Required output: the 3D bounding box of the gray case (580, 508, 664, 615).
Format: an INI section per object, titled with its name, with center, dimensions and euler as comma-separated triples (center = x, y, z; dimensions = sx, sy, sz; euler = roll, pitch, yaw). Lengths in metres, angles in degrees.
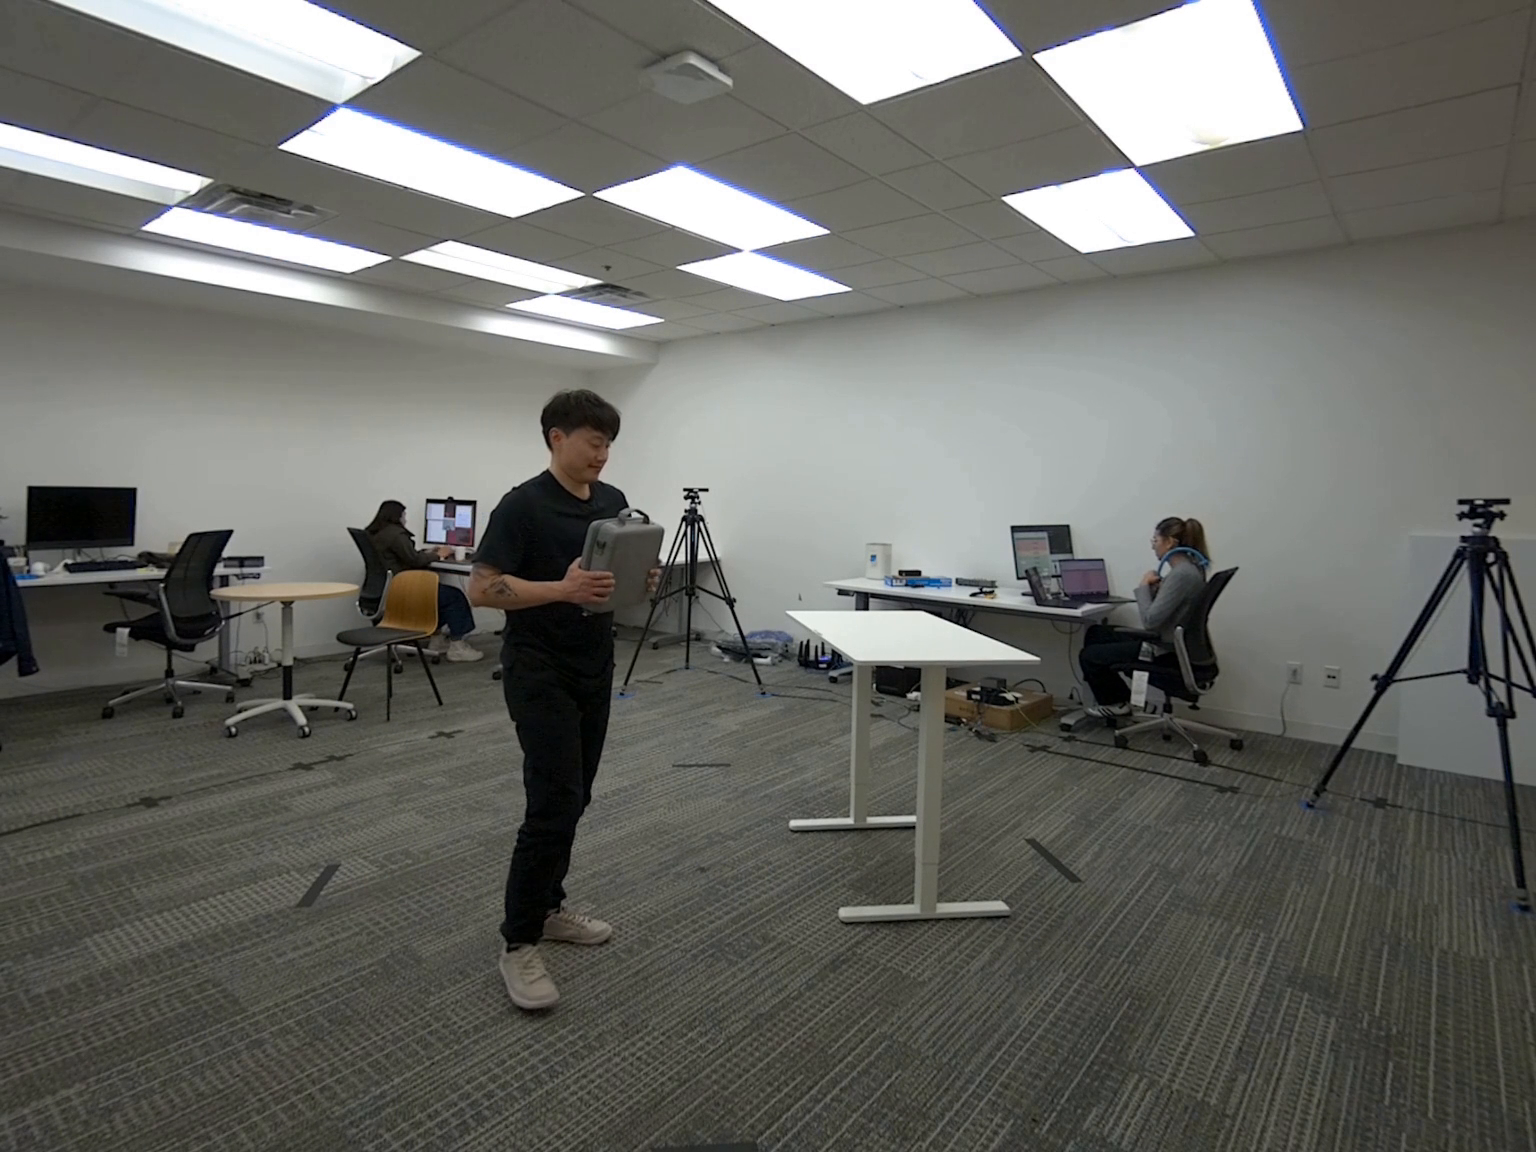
[gray case]
center = -0.433, -0.038, 2.401
dimensions = 0.108, 0.258, 0.251
euler = 22, 17, 25
